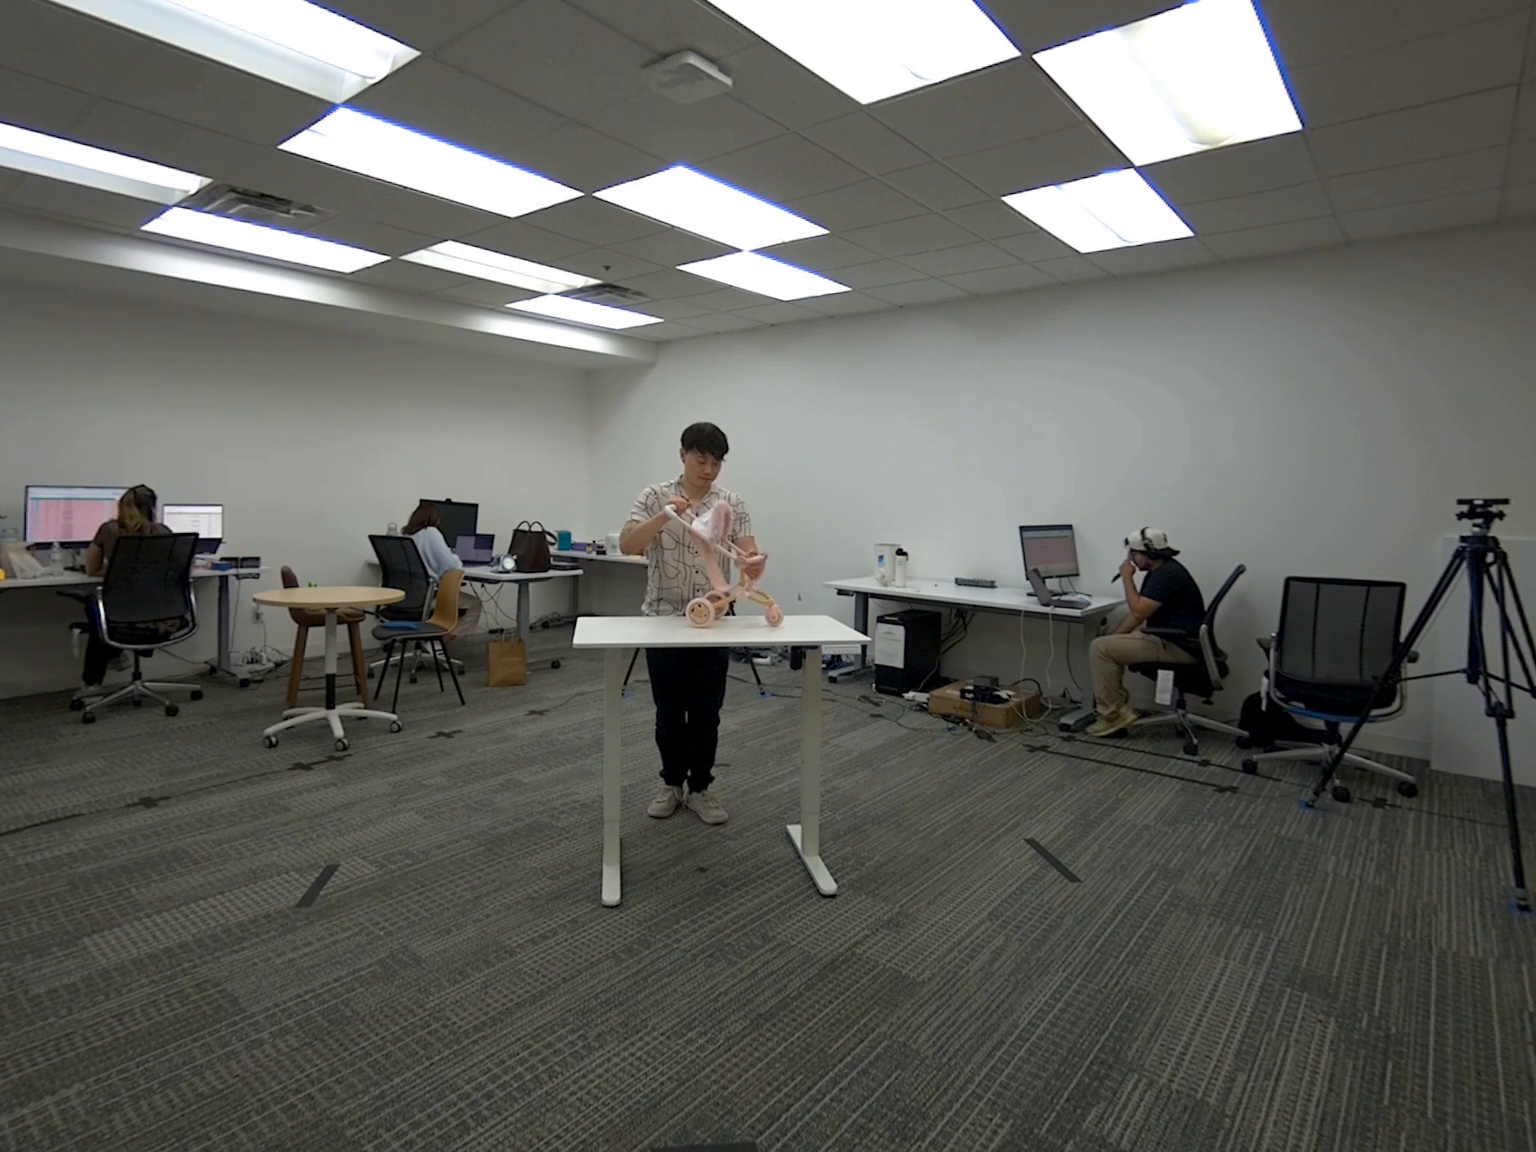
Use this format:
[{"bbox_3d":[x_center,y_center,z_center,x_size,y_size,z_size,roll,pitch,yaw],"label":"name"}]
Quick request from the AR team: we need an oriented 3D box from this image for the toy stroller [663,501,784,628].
[{"bbox_3d":[-0.169,-0.050,3.201,0.346,0.536,0.277,-13,-1,17],"label":"toy stroller"}]
